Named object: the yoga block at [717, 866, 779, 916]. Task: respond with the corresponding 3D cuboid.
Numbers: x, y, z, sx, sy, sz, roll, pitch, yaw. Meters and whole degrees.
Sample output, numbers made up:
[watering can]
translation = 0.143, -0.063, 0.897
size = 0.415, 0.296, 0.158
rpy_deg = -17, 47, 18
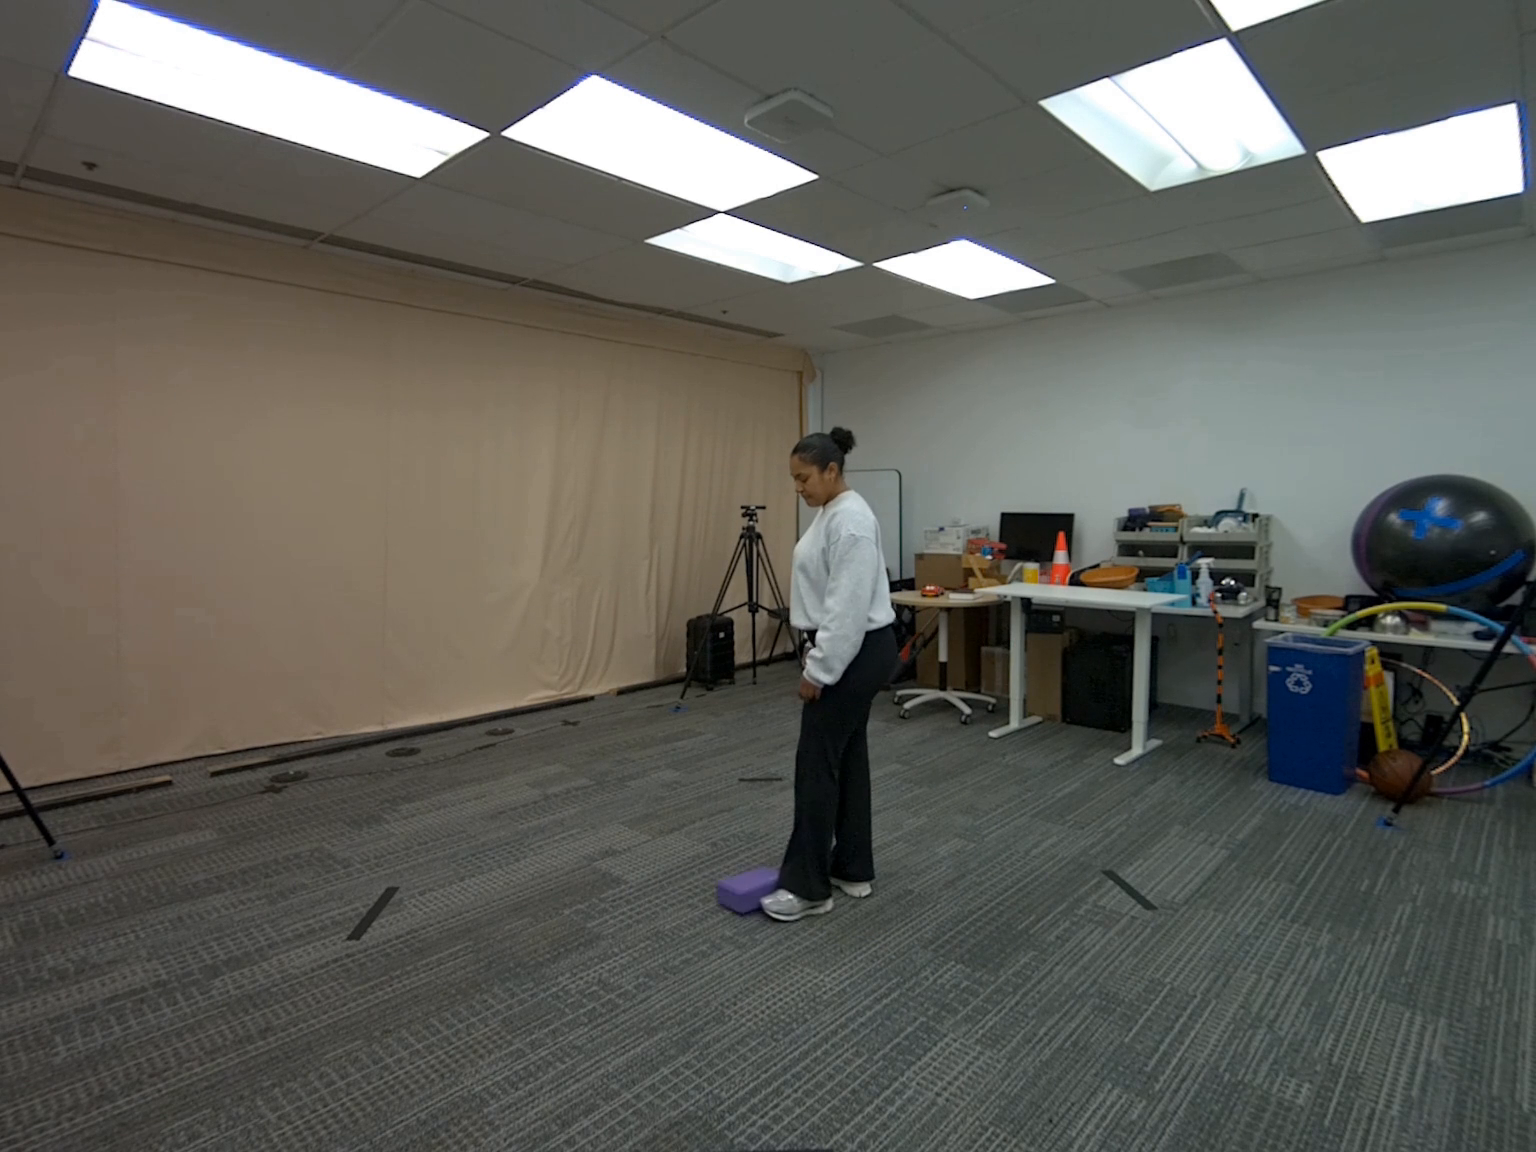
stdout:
[yoga block]
translation = -0.031, 1.103, 2.957
size = 0.223, 0.076, 0.153
rpy_deg = -6, 3, -38
